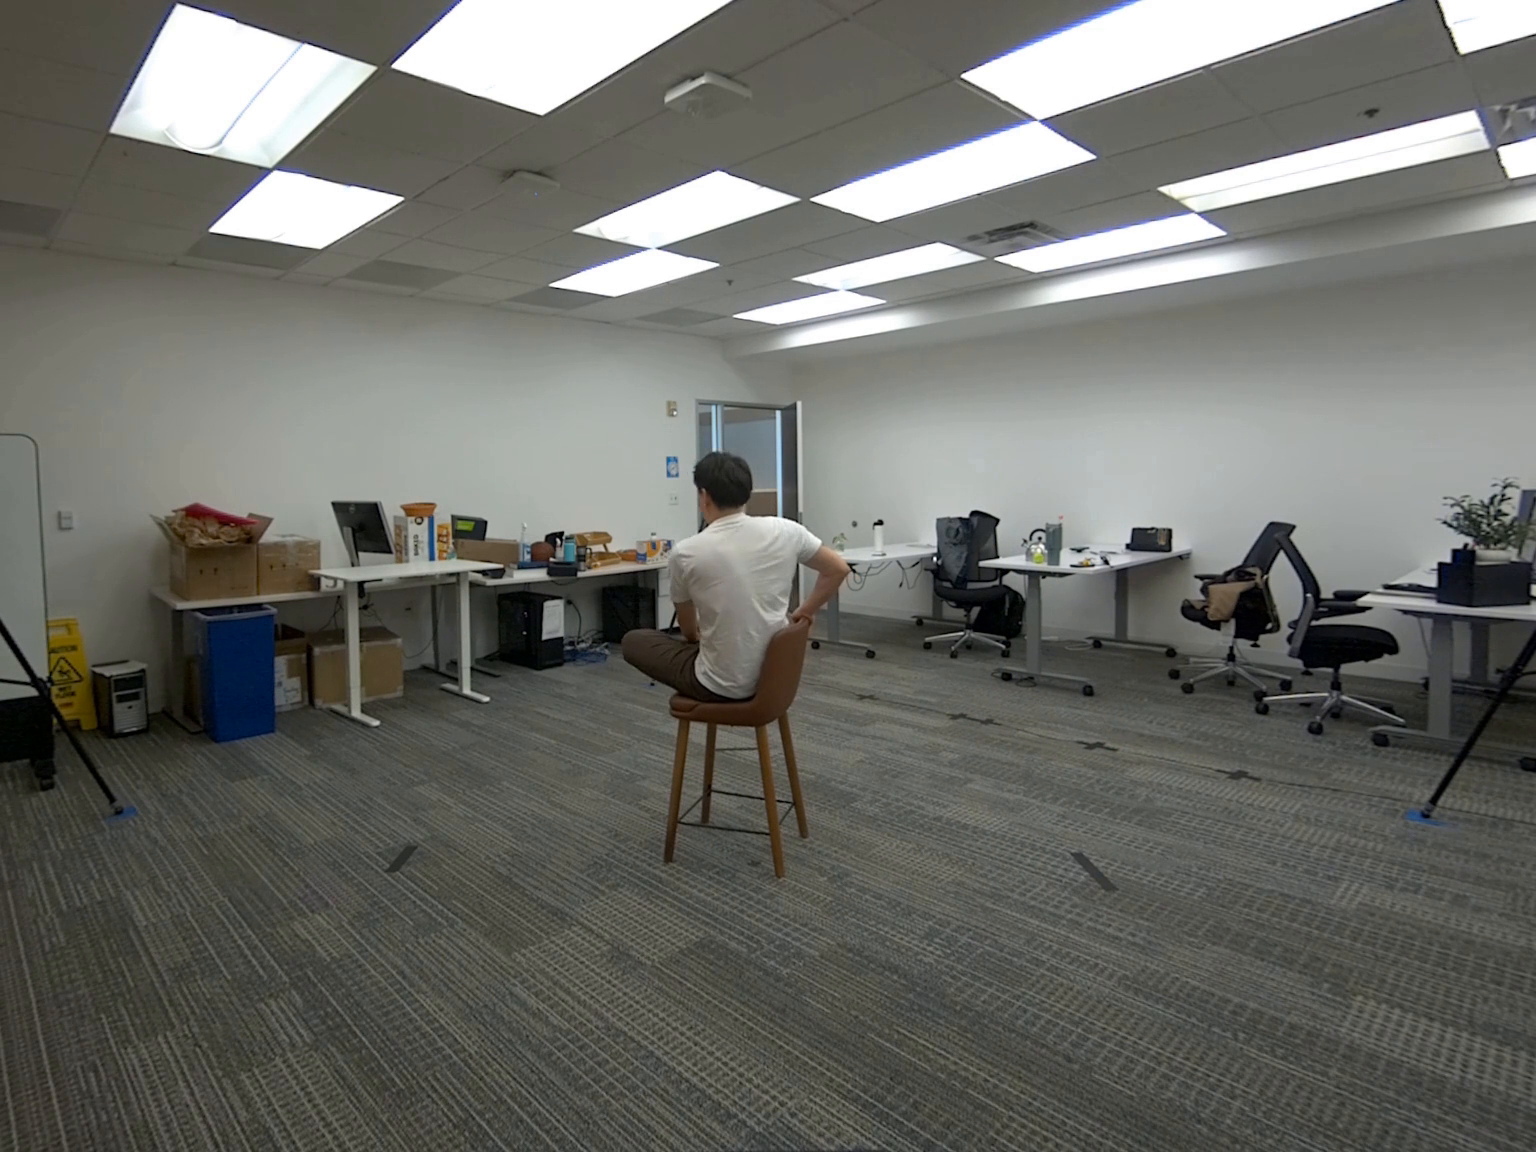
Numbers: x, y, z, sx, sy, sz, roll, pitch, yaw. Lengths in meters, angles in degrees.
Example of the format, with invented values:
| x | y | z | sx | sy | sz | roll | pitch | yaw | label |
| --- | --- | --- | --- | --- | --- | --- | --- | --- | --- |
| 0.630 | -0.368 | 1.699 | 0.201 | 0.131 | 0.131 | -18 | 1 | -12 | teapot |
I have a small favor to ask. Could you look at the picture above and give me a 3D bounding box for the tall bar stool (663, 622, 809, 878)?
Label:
| x | y | z | sx | sy | sz | roll | pitch | yaw | label |
| --- | --- | --- | --- | --- | --- | --- | --- | --- | --- |
| -0.106 | 0.603 | 3.213 | 0.477 | 0.886 | 0.449 | 3 | 5 | 20 | tall bar stool |
